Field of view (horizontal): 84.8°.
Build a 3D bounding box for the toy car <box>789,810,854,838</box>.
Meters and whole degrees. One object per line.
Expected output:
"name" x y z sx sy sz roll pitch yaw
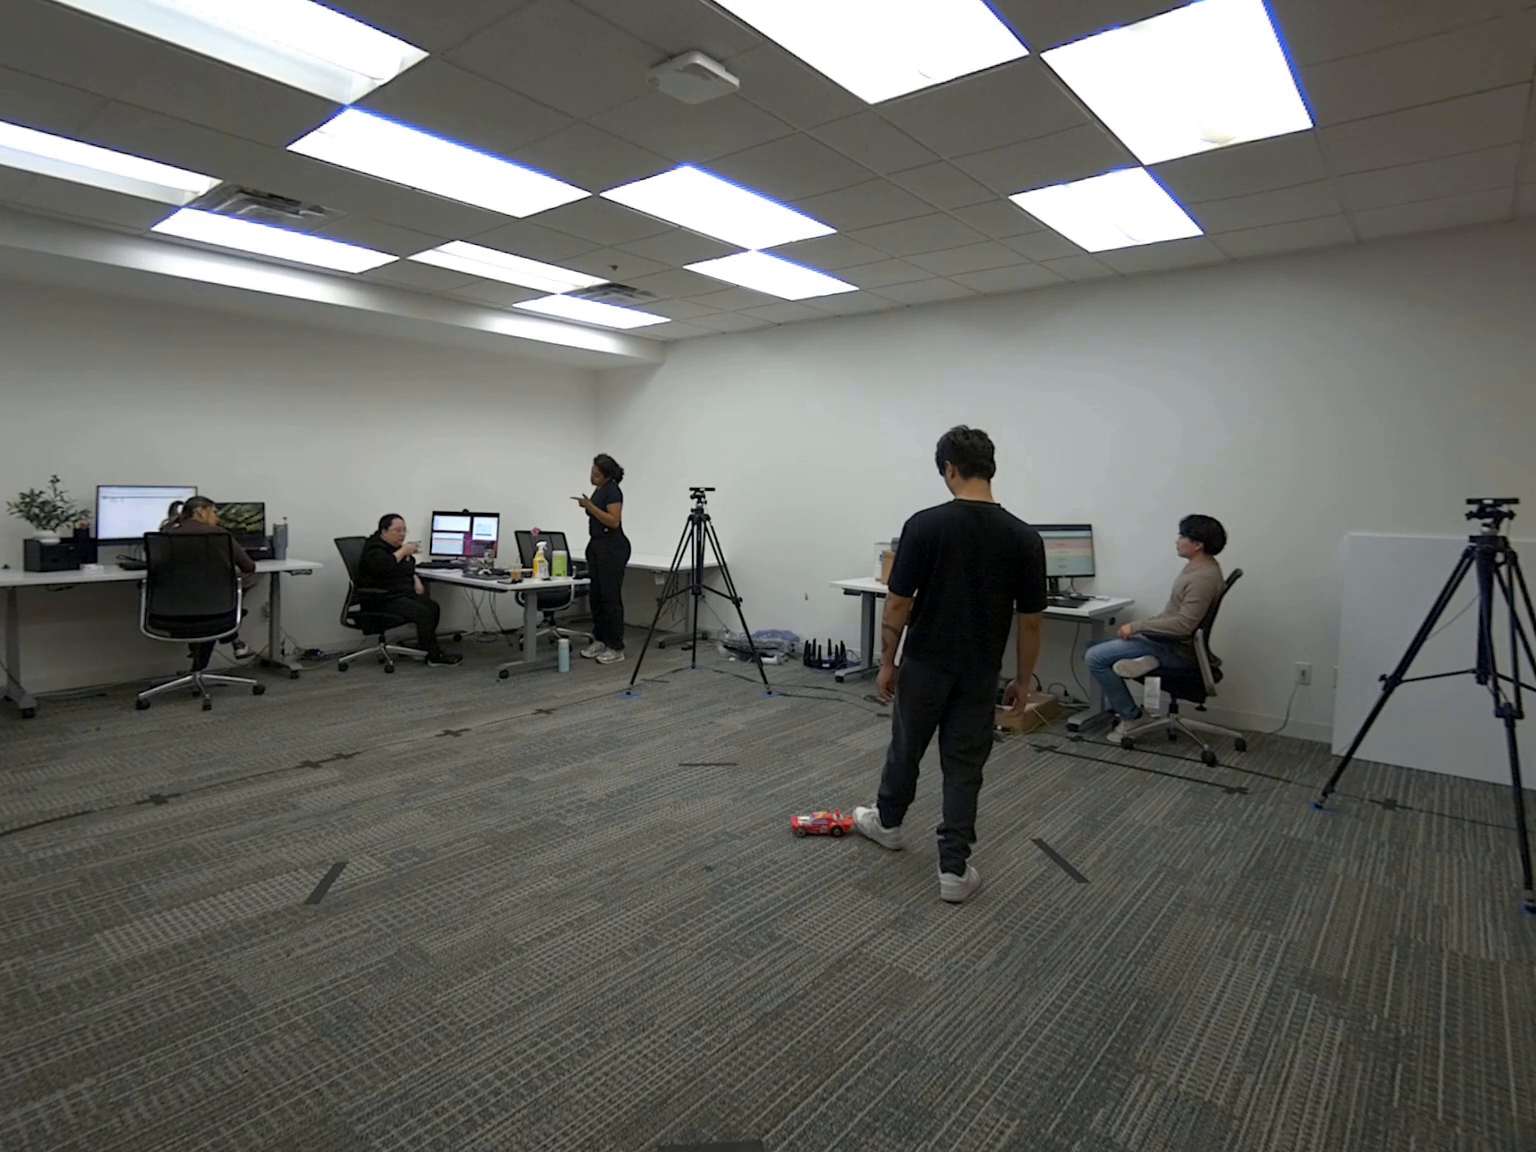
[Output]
"toy car" 0.220 1.009 3.469 0.254 0.083 0.131 -10 6 -1
